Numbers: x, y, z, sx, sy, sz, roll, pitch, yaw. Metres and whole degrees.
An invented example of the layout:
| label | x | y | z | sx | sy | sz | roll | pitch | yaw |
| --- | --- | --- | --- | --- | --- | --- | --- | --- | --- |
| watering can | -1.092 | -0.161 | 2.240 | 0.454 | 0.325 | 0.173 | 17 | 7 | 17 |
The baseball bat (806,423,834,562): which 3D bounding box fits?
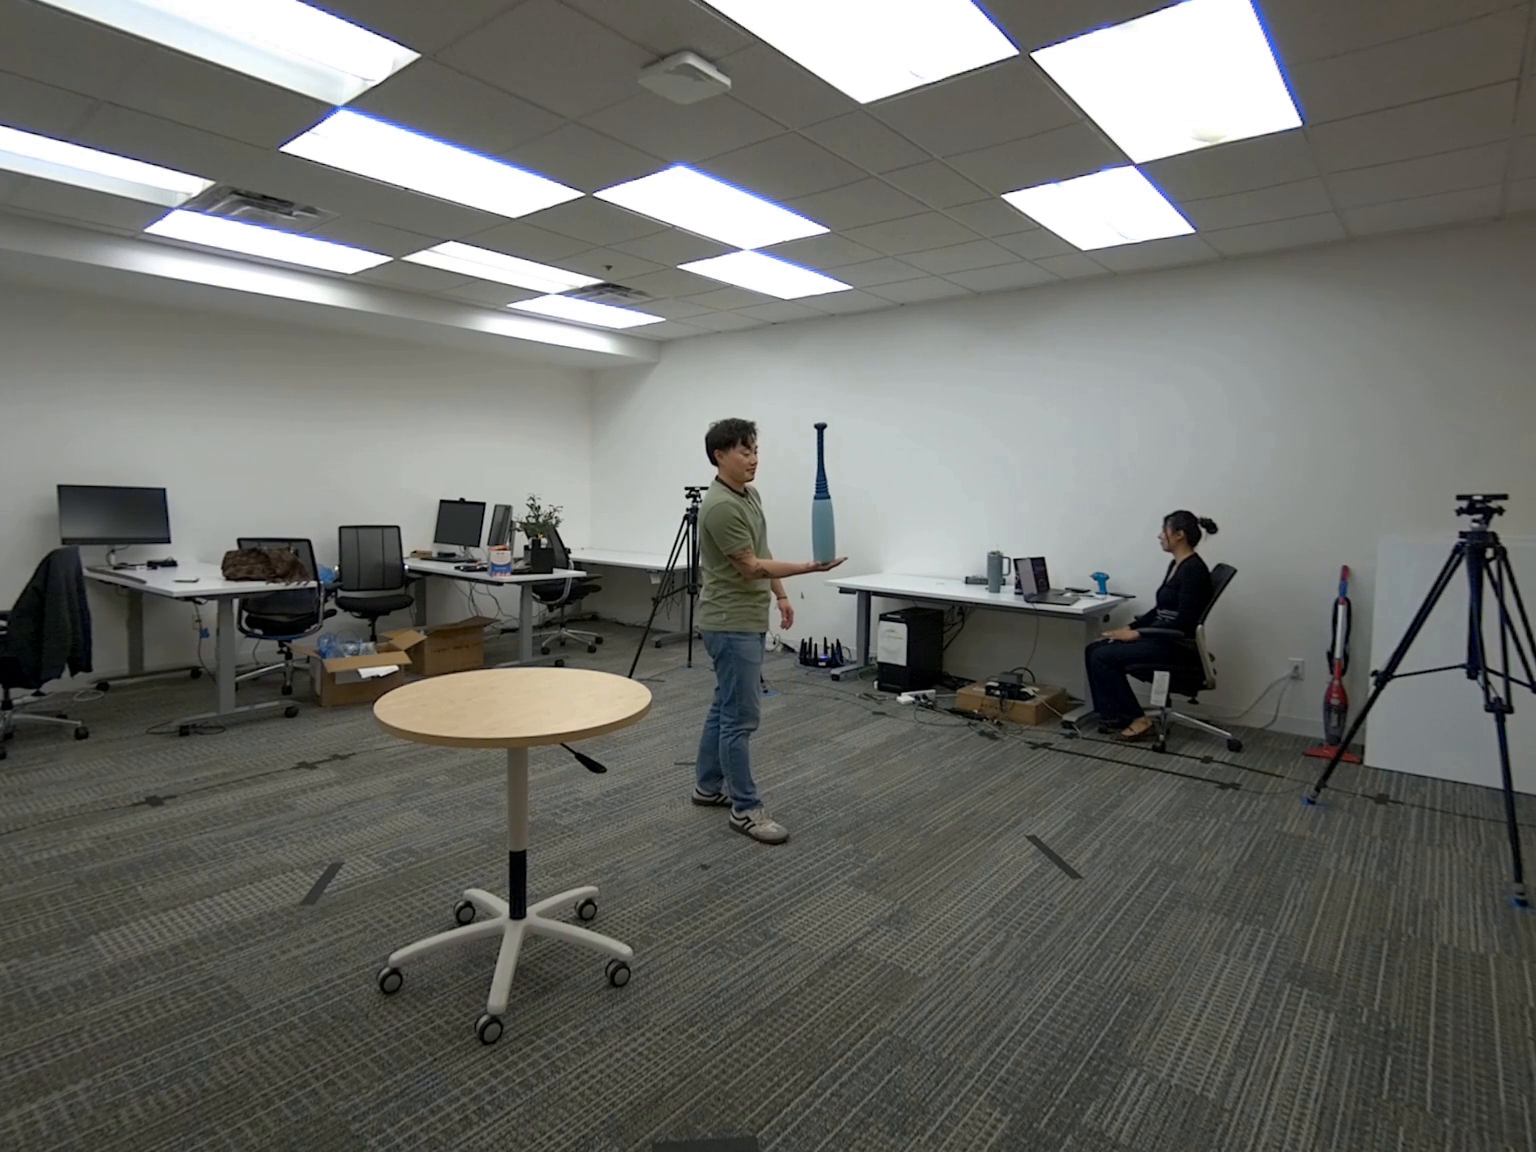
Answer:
| label | x | y | z | sx | sy | sz | roll | pitch | yaw |
| --- | --- | --- | --- | --- | --- | --- | --- | --- | --- |
| baseball bat | 0.198 | -0.316 | 3.243 | 0.089 | 0.539 | 0.090 | -1 | 7 | -2 |
